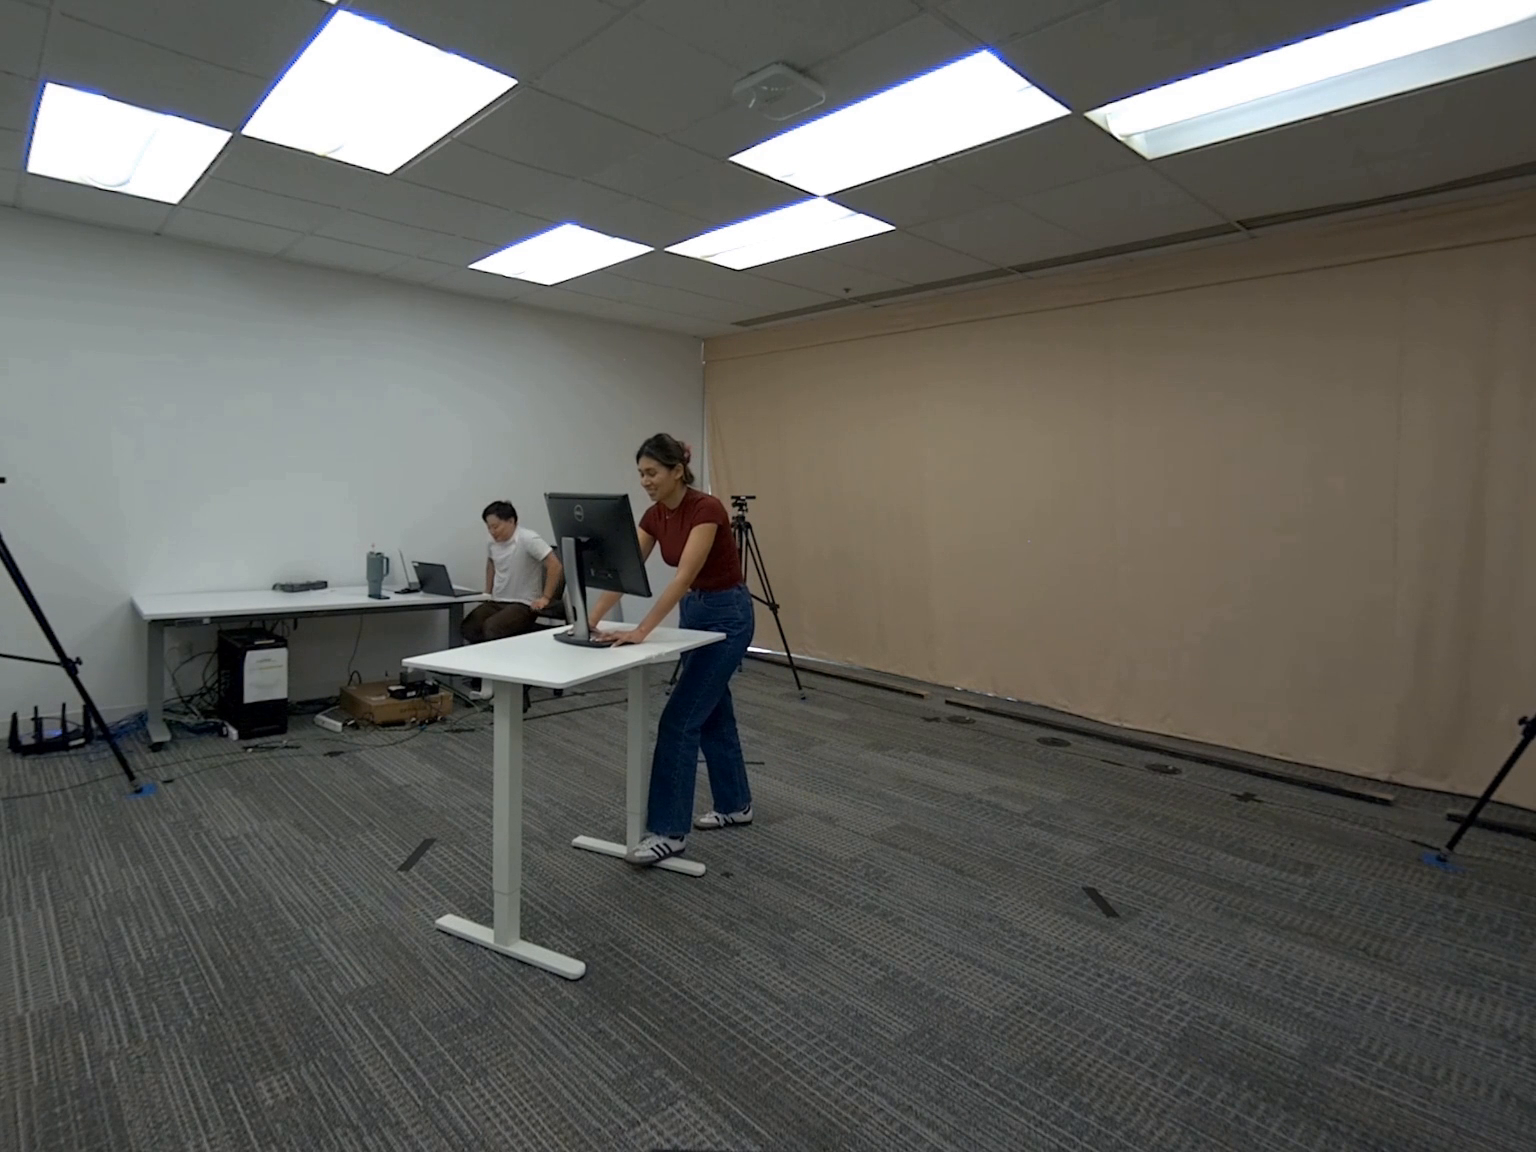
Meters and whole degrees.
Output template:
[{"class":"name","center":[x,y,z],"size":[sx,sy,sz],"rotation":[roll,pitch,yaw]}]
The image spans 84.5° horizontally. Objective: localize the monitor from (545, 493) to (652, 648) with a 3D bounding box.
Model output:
[{"class":"monitor","center":[-0.633,-0.023,2.900],"size":[0.553,0.520,0.183],"rotation":[6,8,44]}]
